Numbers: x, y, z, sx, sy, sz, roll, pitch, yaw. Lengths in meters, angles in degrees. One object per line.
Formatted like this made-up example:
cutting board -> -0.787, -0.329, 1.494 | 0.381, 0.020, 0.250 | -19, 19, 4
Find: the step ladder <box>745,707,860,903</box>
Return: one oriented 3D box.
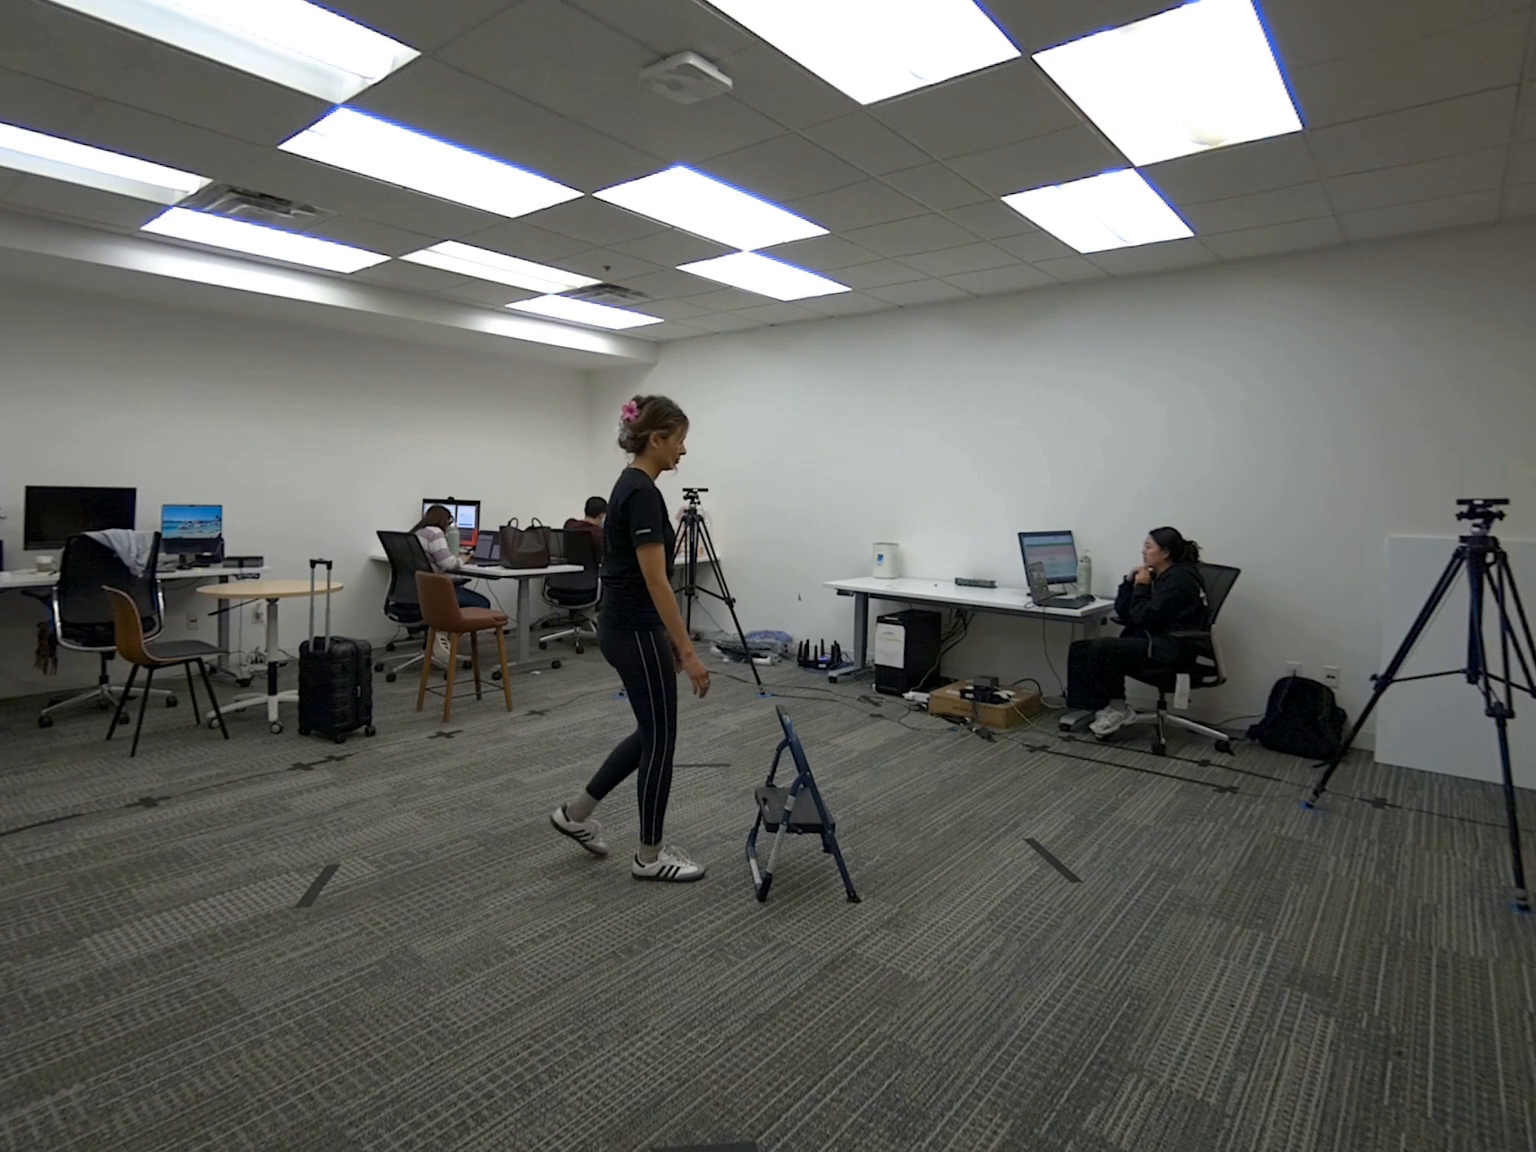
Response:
step ladder -> 0.113, 0.784, 3.063 | 0.347, 0.605, 0.434 | 2, 3, -7
